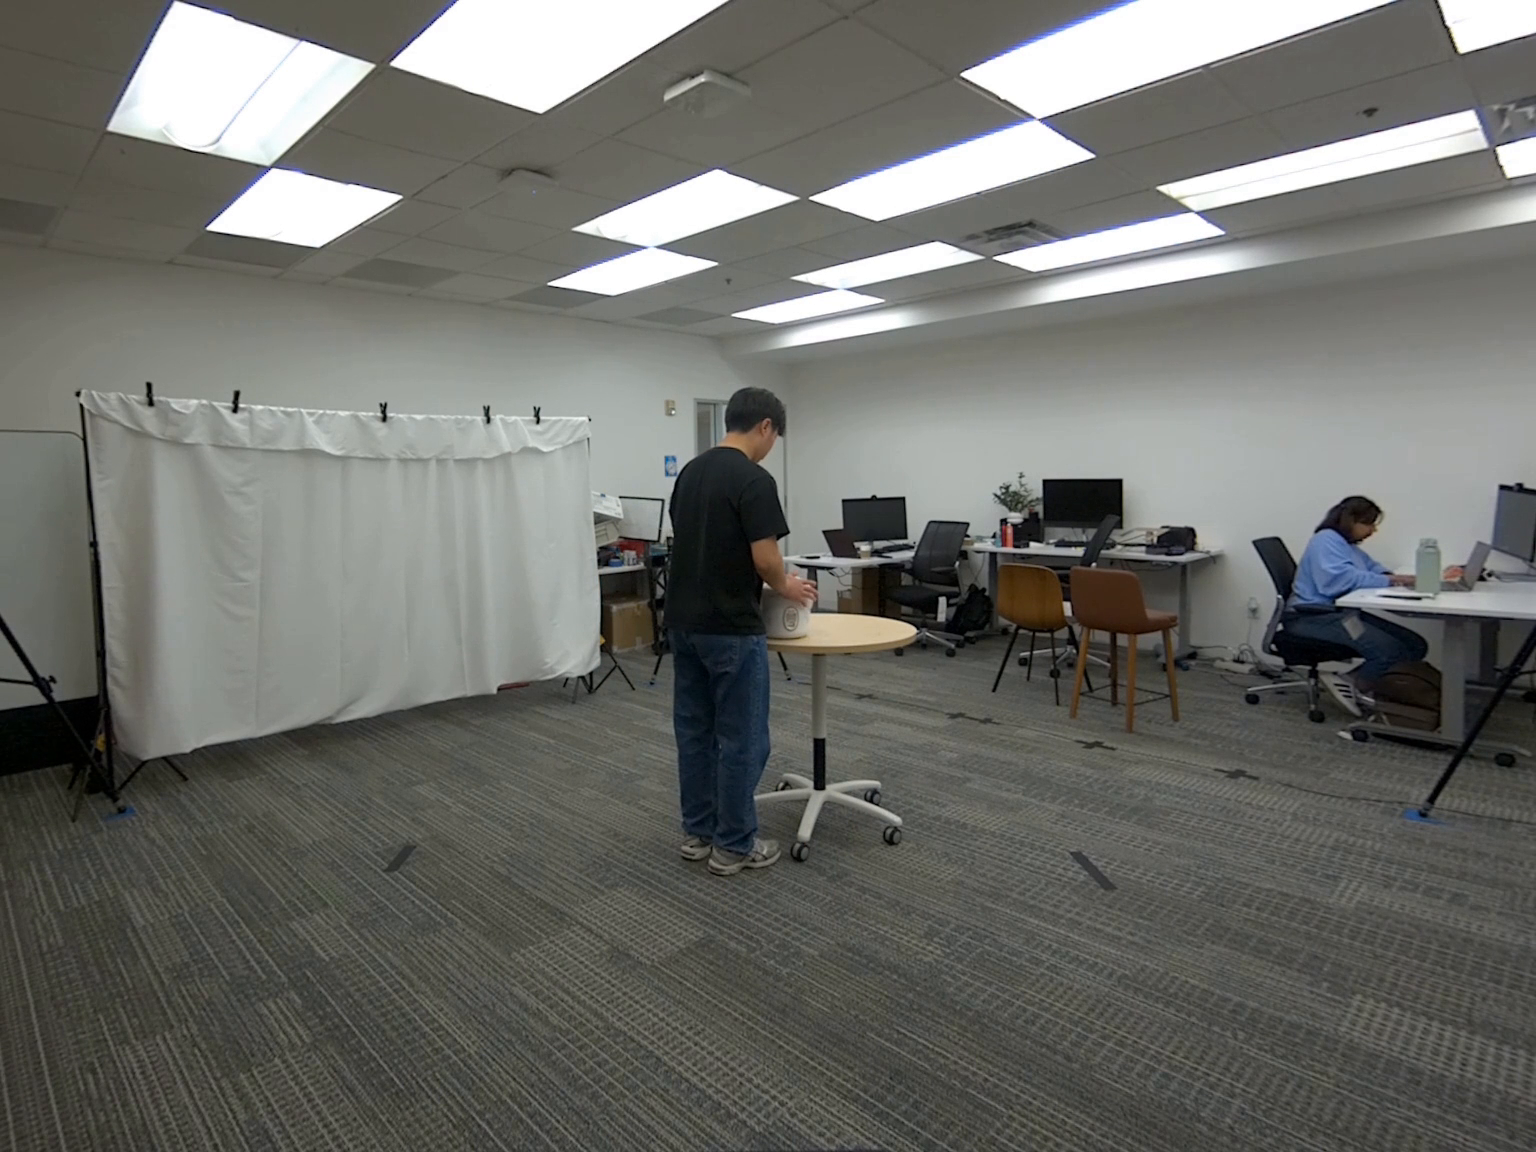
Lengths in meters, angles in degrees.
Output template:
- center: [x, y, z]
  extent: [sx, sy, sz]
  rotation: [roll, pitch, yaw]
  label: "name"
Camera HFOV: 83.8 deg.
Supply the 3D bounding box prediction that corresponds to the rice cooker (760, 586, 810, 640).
- center: [0.068, 0.113, 3.245]
  extent: [0.218, 0.232, 0.220]
  rotation: [-2, 5, -11]
  label: "rice cooker"
